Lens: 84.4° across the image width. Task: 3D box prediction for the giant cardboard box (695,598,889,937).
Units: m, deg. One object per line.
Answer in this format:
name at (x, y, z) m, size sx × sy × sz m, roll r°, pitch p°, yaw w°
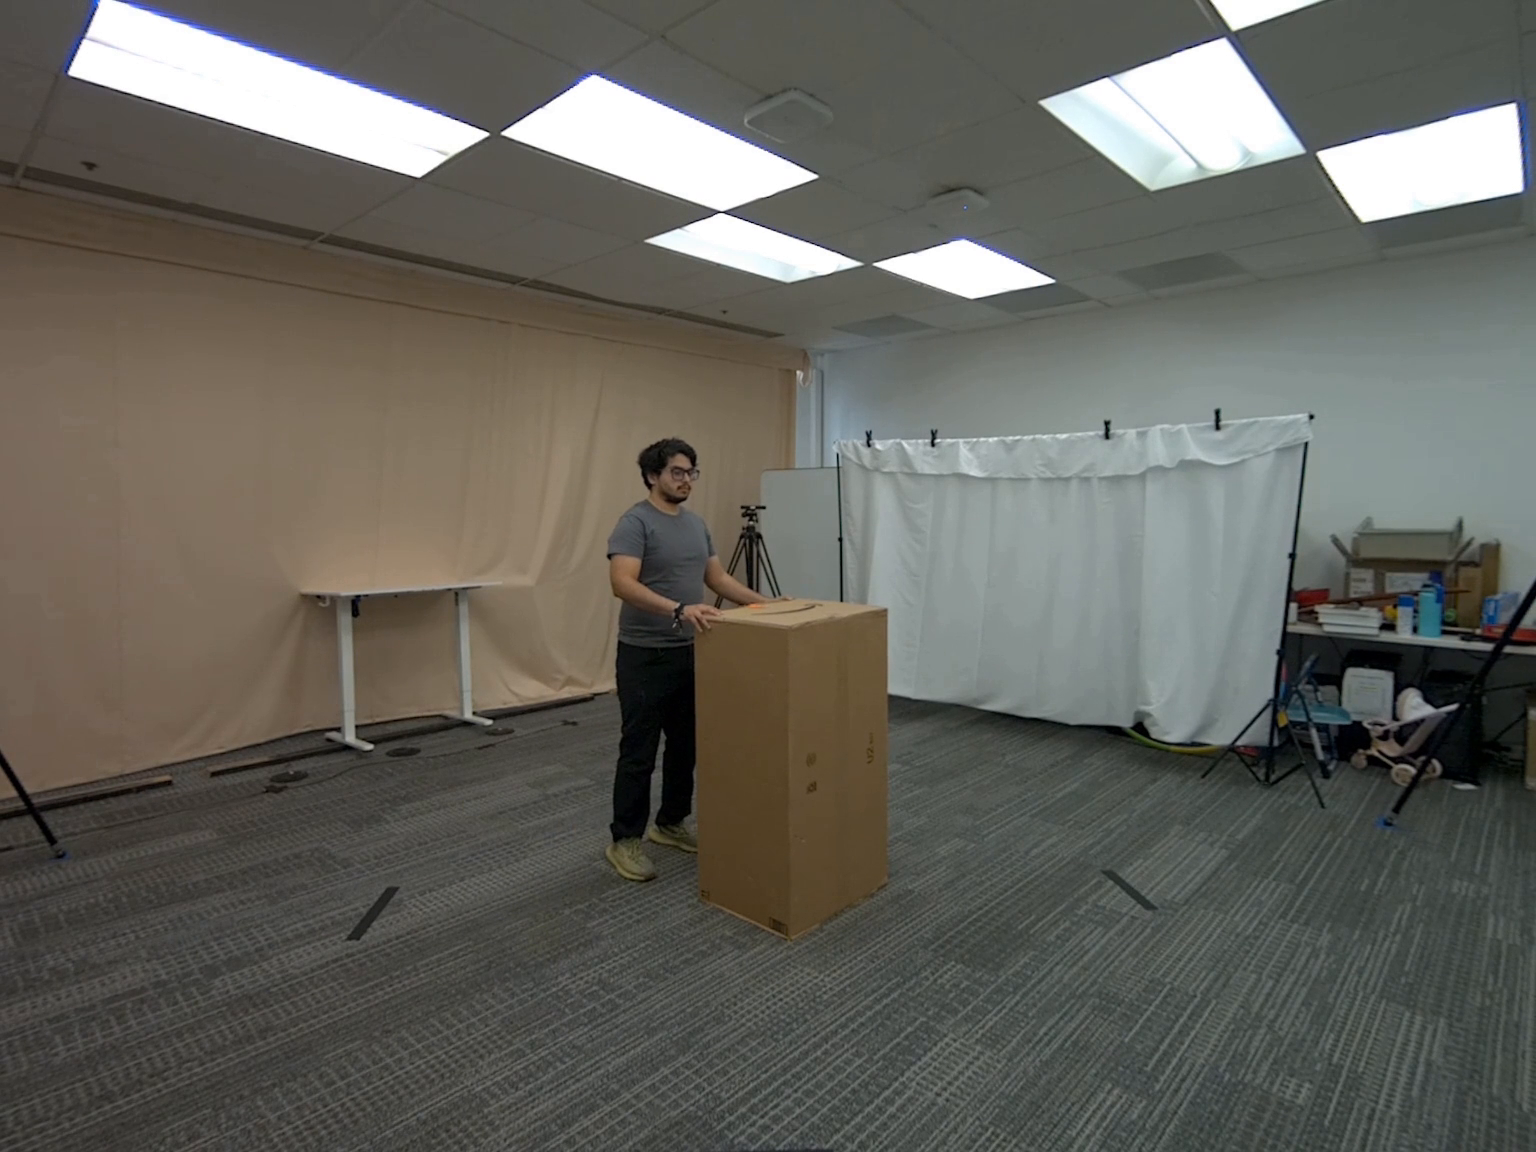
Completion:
giant cardboard box at (0.095, 0.634, 3.007) m, size 0.440 × 1.023 × 0.560 m, roll 3°, pitch 5°, yaw 42°
